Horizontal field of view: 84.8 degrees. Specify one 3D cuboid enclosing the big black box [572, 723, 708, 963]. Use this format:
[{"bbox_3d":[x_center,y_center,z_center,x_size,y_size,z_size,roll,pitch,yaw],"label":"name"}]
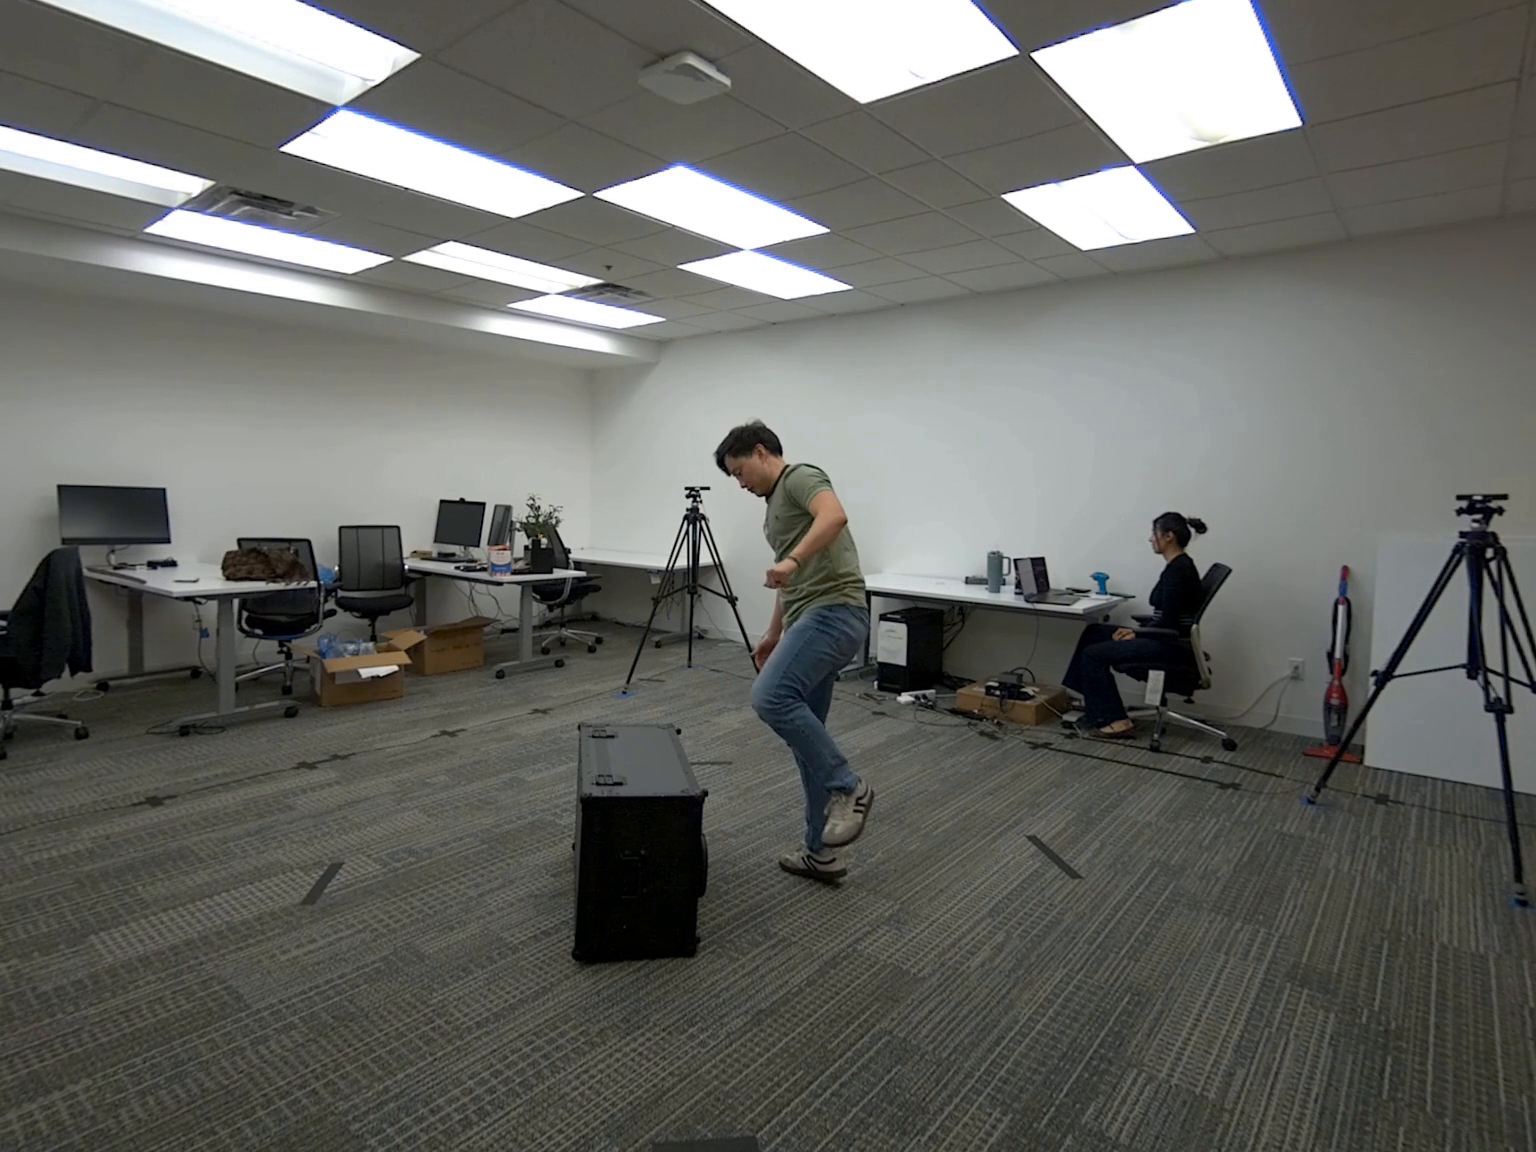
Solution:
[{"bbox_3d":[-0.462,0.827,2.886,0.391,0.520,0.876,3,4,-14],"label":"big black box"}]
